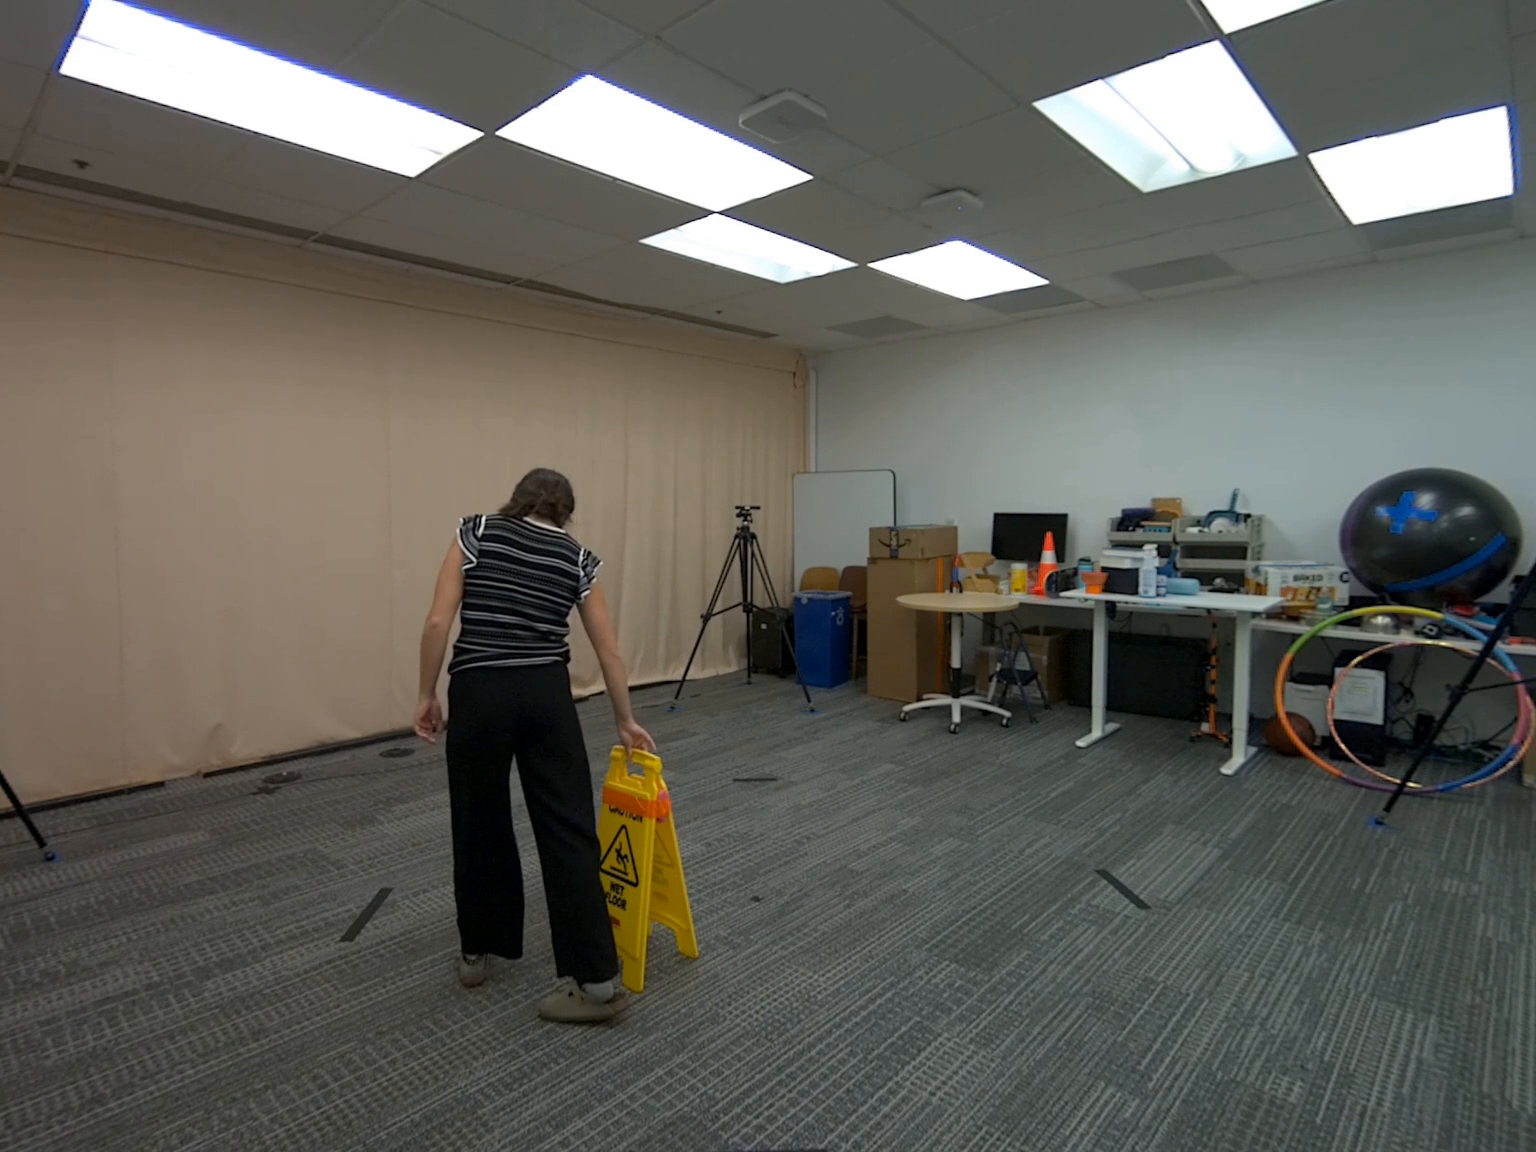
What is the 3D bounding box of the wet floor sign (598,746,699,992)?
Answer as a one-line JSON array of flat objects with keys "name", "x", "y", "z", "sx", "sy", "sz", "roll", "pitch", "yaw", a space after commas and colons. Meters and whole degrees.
[{"name": "wet floor sign", "x": -0.401, "y": 0.857, "z": 2.566, "sx": 0.291, "sy": 0.645, "sz": 0.281, "roll": 2, "pitch": 4, "yaw": 39}]
